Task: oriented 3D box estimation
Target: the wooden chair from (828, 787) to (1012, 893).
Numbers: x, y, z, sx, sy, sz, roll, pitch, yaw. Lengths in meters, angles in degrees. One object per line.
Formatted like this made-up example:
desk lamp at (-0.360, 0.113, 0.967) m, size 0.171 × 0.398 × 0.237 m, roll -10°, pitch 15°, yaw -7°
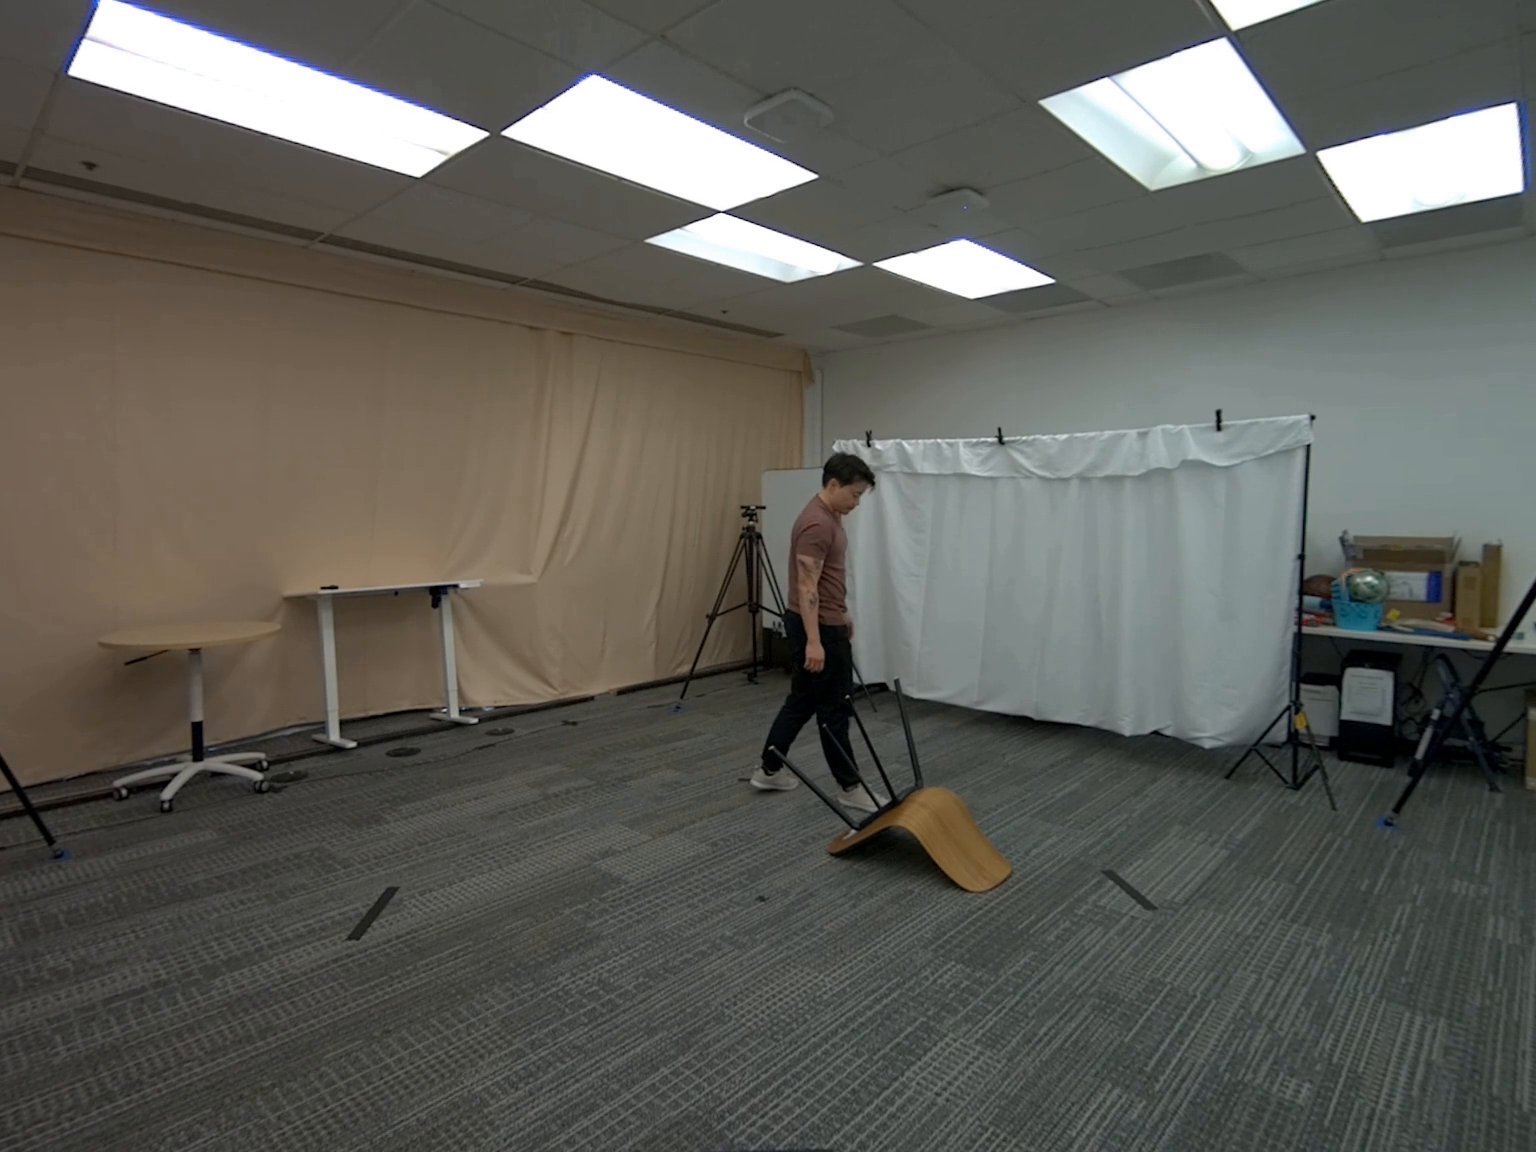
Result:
wooden chair at (0.491, 0.936, 3.412) m, size 0.527 × 0.896 × 0.464 m, roll -45°, pitch -22°, yaw 28°
